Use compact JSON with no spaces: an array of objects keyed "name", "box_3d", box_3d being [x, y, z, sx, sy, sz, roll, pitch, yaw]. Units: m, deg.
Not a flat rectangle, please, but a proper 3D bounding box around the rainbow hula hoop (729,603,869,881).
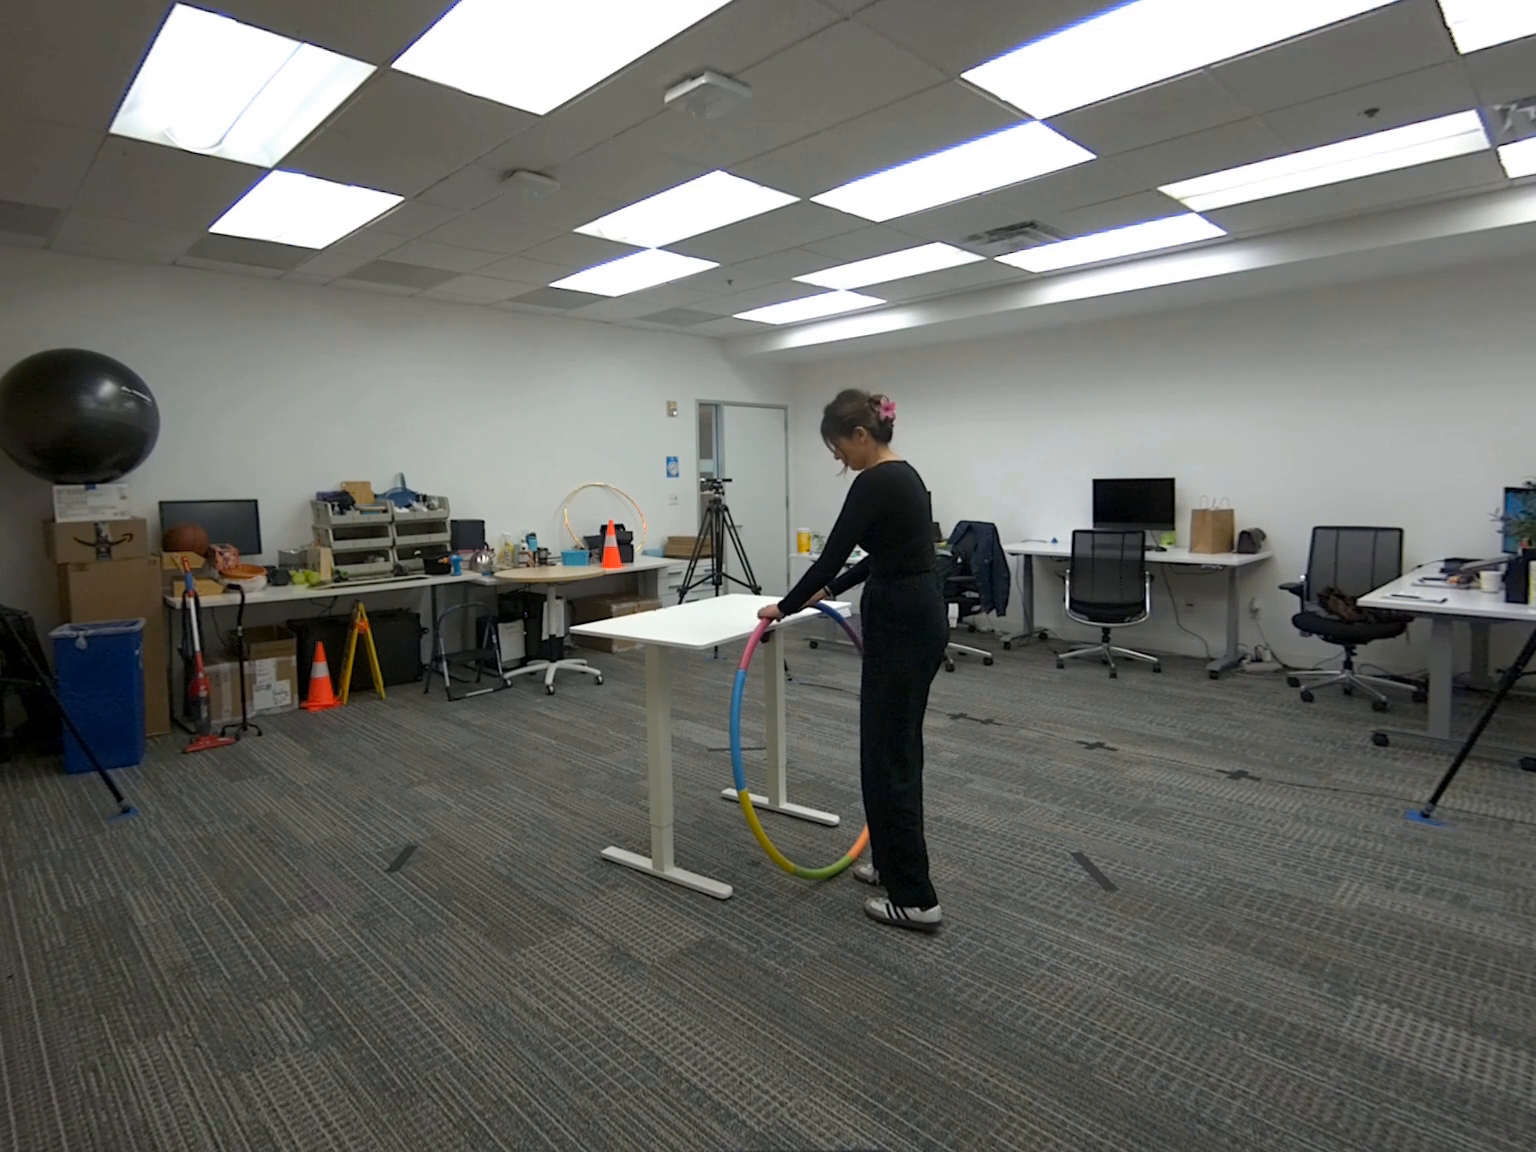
[{"name":"rainbow hula hoop","box_3d":[0.180,0.564,3.065,0.036,0.983,0.954,-14,-4,36]}]
